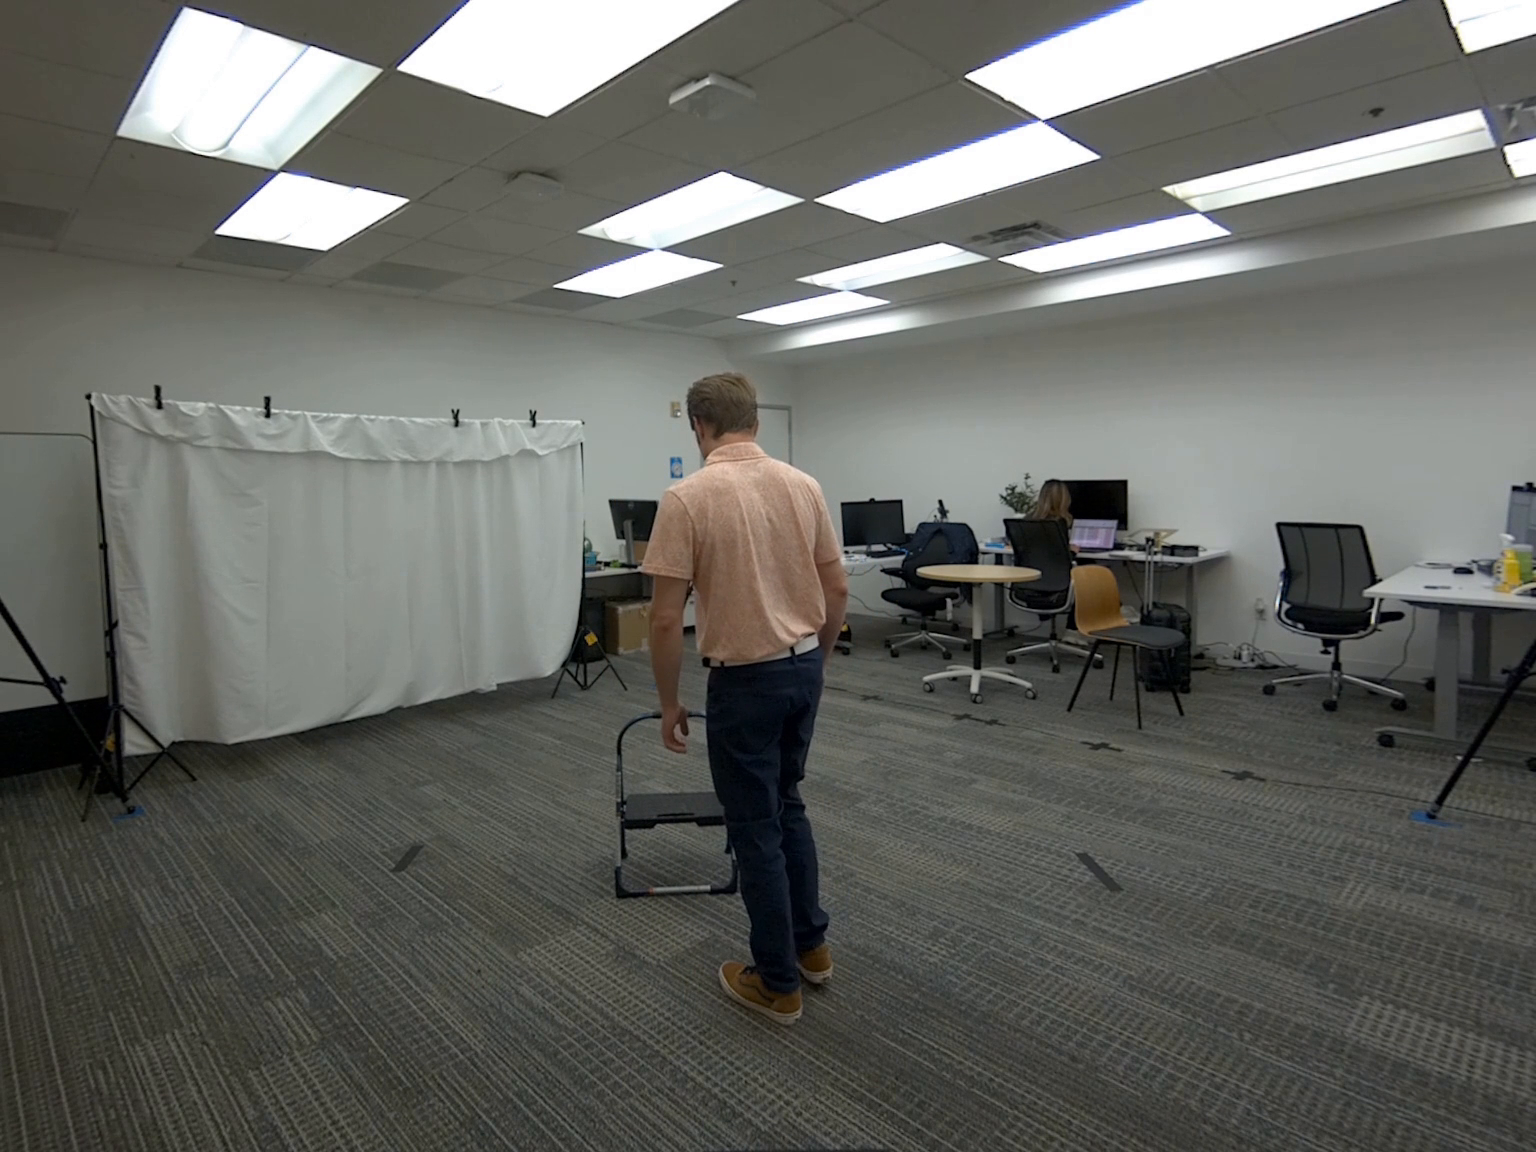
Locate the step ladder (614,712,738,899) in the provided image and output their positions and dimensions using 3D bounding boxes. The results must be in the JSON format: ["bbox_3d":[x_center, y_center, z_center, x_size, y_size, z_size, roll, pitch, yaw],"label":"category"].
[{"bbox_3d":[-0.331,0.762,3.025,0.428,0.604,0.352,-2,4,-6],"label":"step ladder"}]
